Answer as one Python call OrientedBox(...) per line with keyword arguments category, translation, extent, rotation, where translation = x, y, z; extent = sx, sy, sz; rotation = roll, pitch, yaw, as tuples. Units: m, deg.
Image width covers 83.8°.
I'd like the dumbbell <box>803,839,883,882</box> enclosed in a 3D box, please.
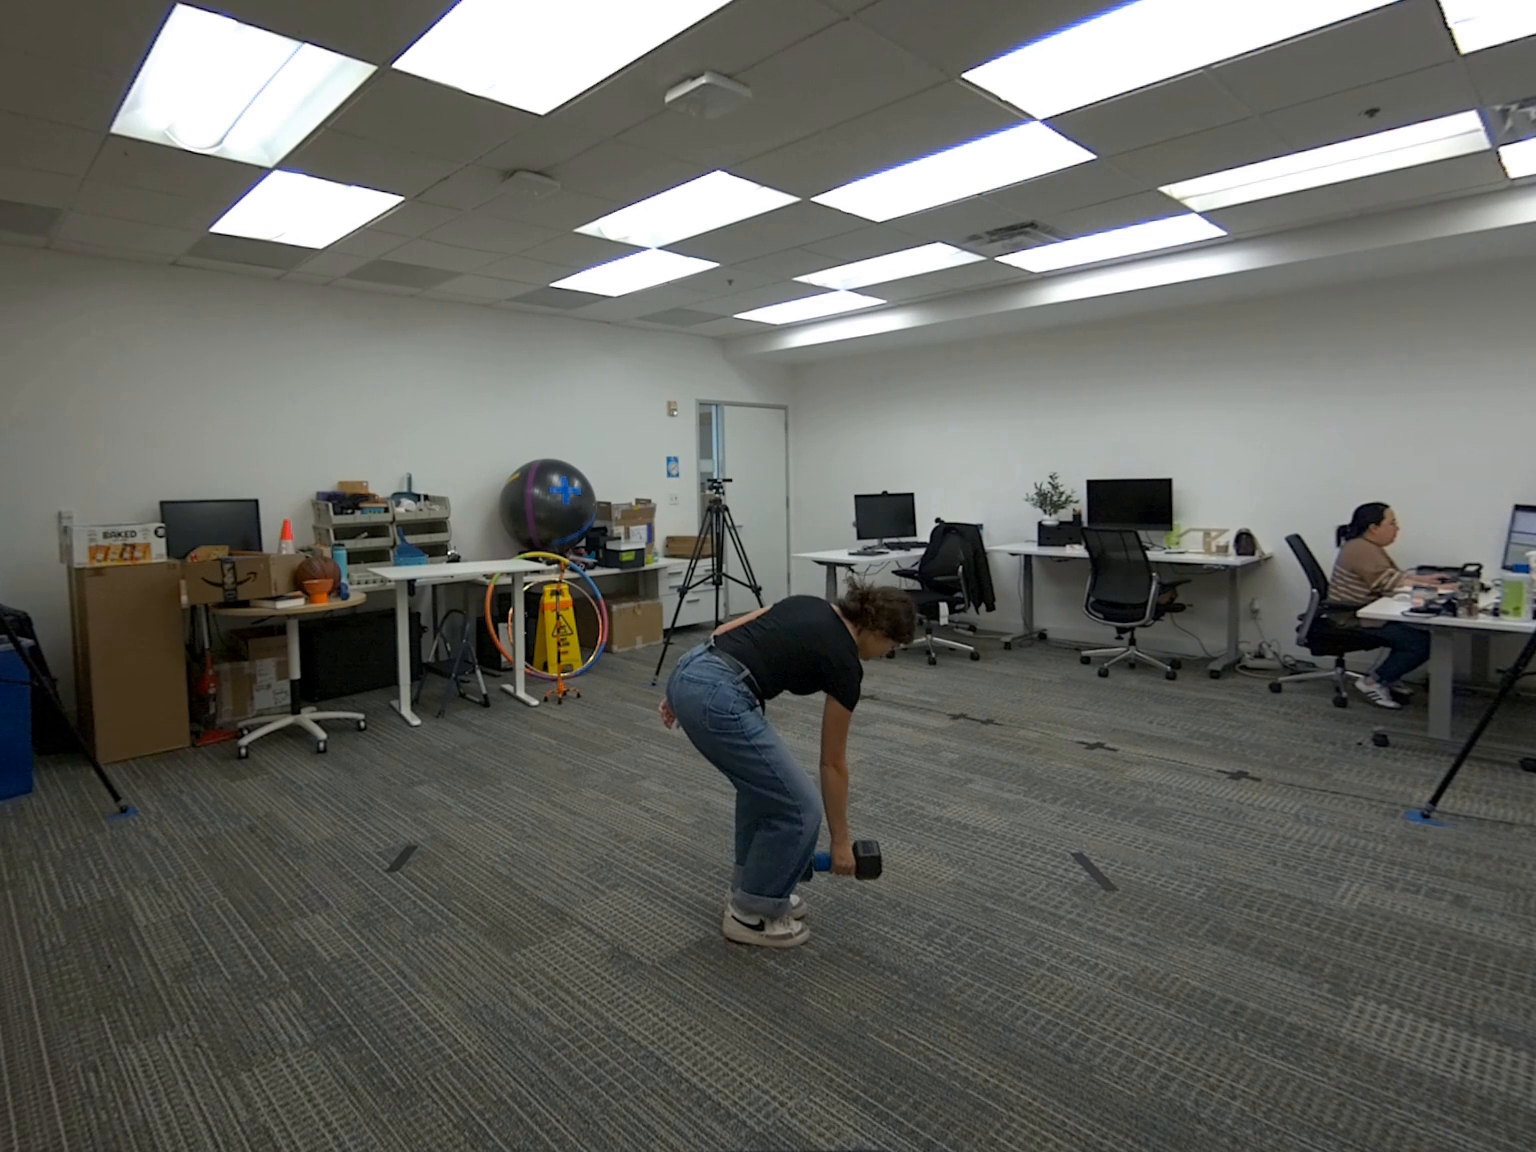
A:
OrientedBox(category="dumbbell", translation=(0.209, 0.884, 2.650), extent=(0.293, 0.123, 0.109), rotation=(-3, 0, -3))
